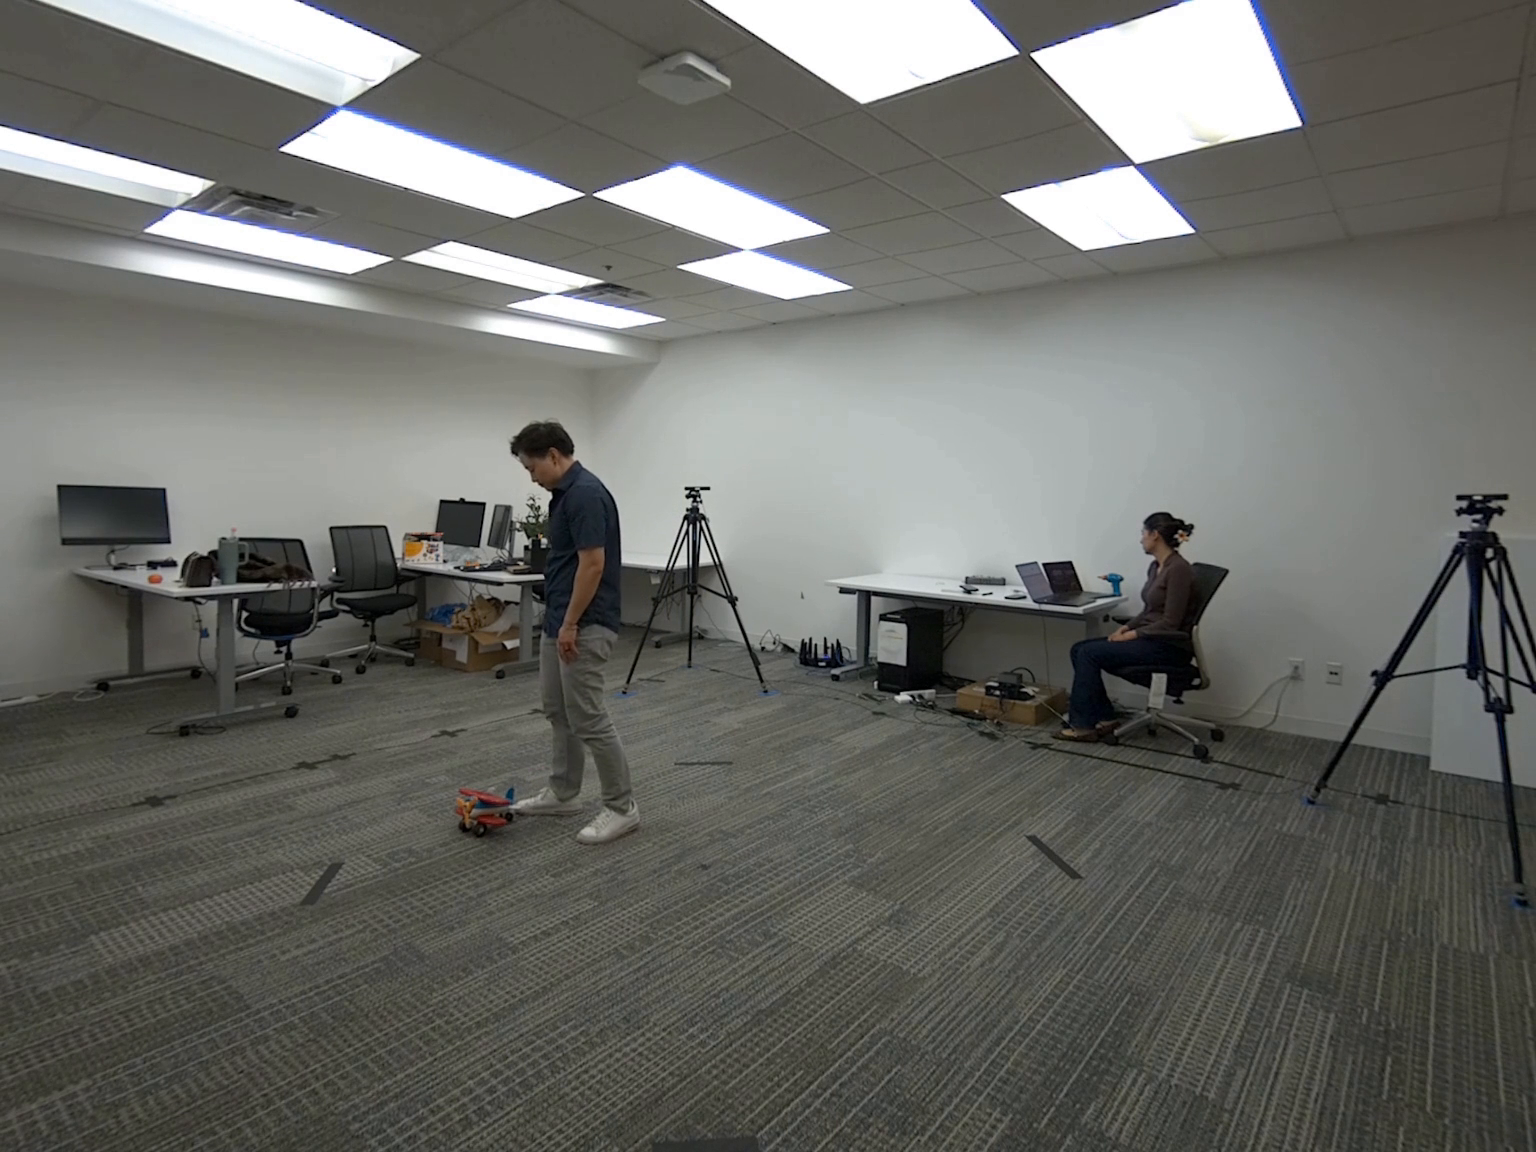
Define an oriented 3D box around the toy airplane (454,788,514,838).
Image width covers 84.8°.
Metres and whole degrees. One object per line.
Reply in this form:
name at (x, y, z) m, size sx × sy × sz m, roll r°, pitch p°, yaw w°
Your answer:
toy airplane at (-1.167, 0.946, 3.461) m, size 0.252 × 0.156 × 0.259 m, roll 1°, pitch 5°, yaw 3°
